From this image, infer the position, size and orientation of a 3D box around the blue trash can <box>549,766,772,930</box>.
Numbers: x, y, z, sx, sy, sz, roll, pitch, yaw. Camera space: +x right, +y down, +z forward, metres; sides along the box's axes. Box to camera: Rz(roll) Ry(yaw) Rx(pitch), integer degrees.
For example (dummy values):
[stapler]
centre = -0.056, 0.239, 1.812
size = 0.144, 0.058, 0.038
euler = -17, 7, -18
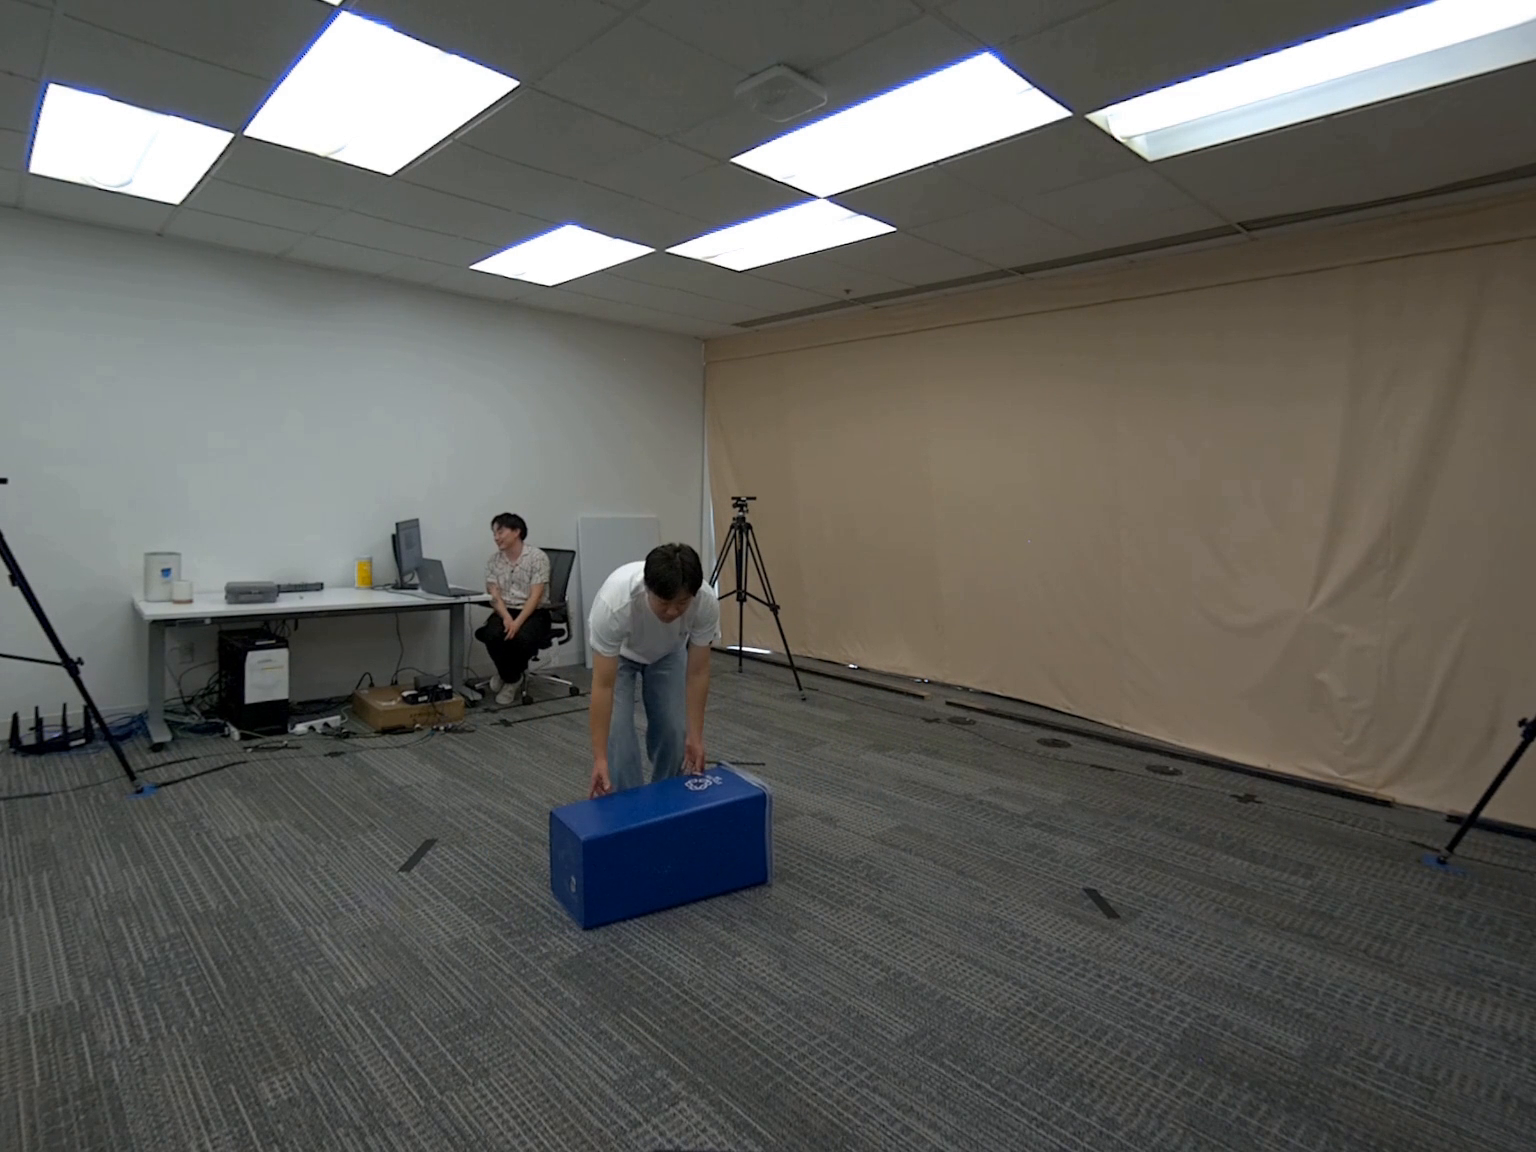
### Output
[blue trash can]
centre = -0.373, 0.947, 2.964
size = 0.699, 0.376, 0.383
euler = -6, 8, -33
